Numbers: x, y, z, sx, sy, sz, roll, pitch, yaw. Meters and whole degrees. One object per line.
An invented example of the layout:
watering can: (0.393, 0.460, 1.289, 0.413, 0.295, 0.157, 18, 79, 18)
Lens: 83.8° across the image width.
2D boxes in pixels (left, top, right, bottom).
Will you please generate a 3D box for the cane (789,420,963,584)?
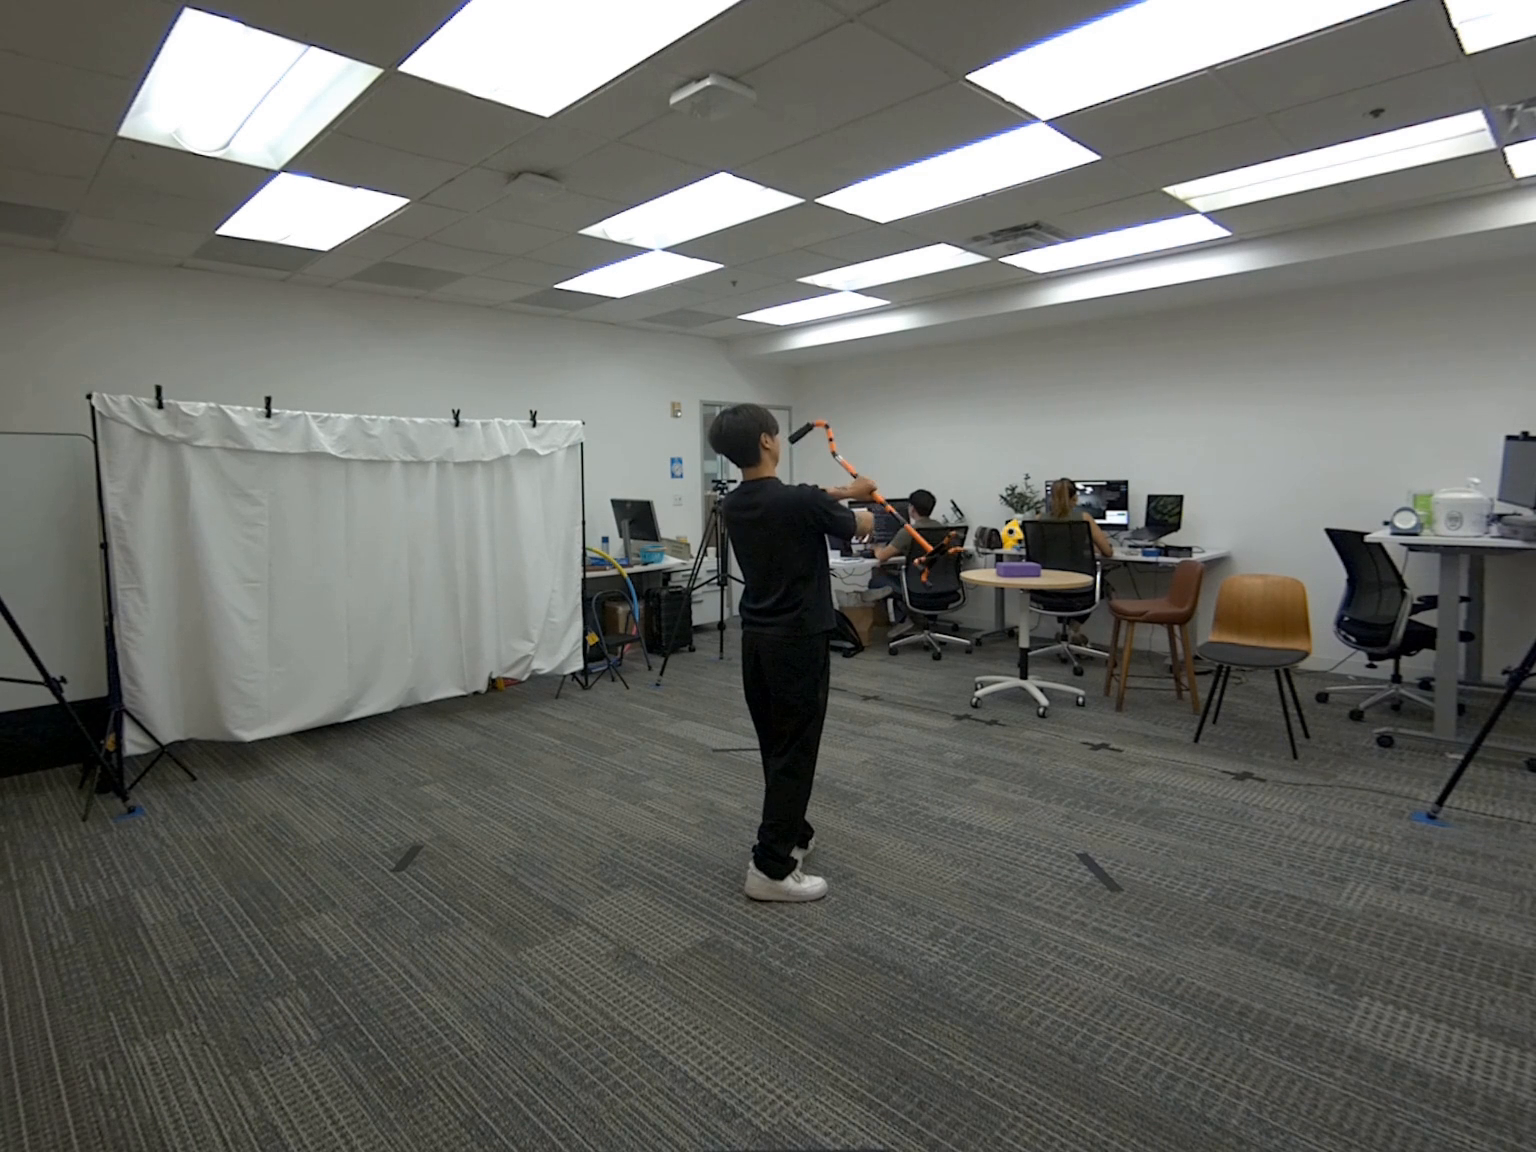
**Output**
cane: (0.386, -0.332, 3.236, 0.206, 0.943, 0.146, -38, -37, 1)
